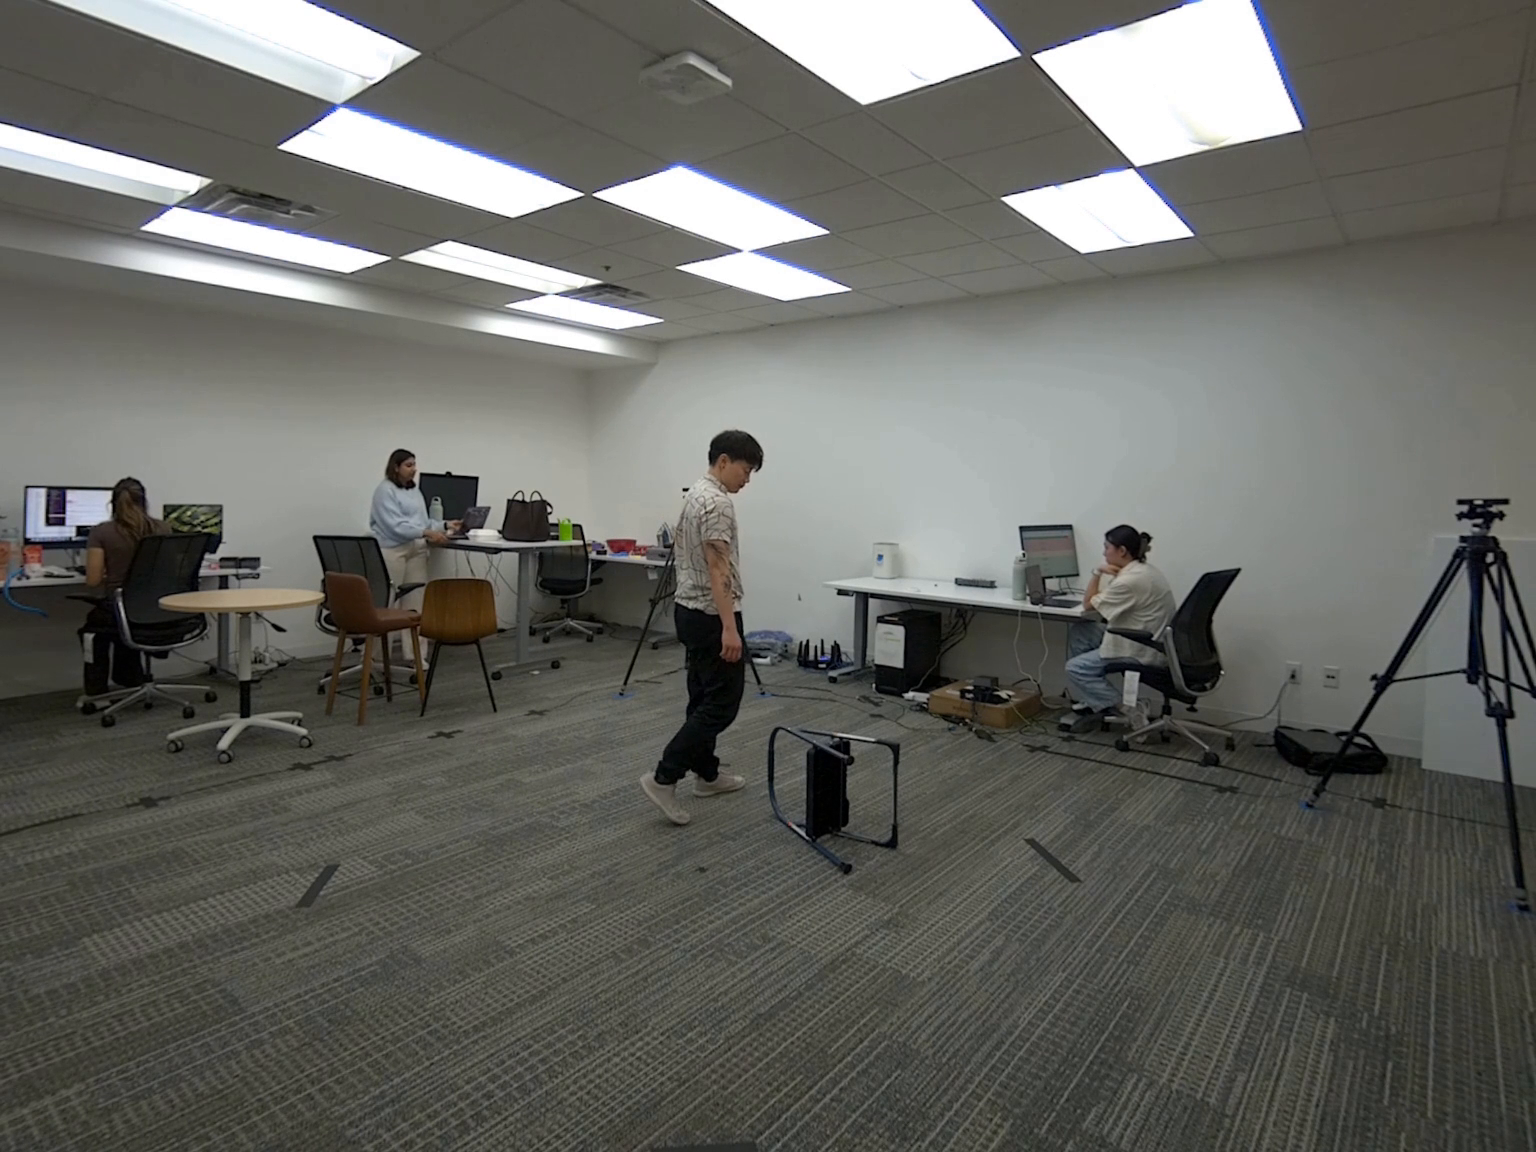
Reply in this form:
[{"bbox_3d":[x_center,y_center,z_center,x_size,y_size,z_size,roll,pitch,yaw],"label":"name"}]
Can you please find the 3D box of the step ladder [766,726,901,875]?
[{"bbox_3d":[0.172,0.838,3.422,0.627,0.430,0.338,5,4,43],"label":"step ladder"}]
